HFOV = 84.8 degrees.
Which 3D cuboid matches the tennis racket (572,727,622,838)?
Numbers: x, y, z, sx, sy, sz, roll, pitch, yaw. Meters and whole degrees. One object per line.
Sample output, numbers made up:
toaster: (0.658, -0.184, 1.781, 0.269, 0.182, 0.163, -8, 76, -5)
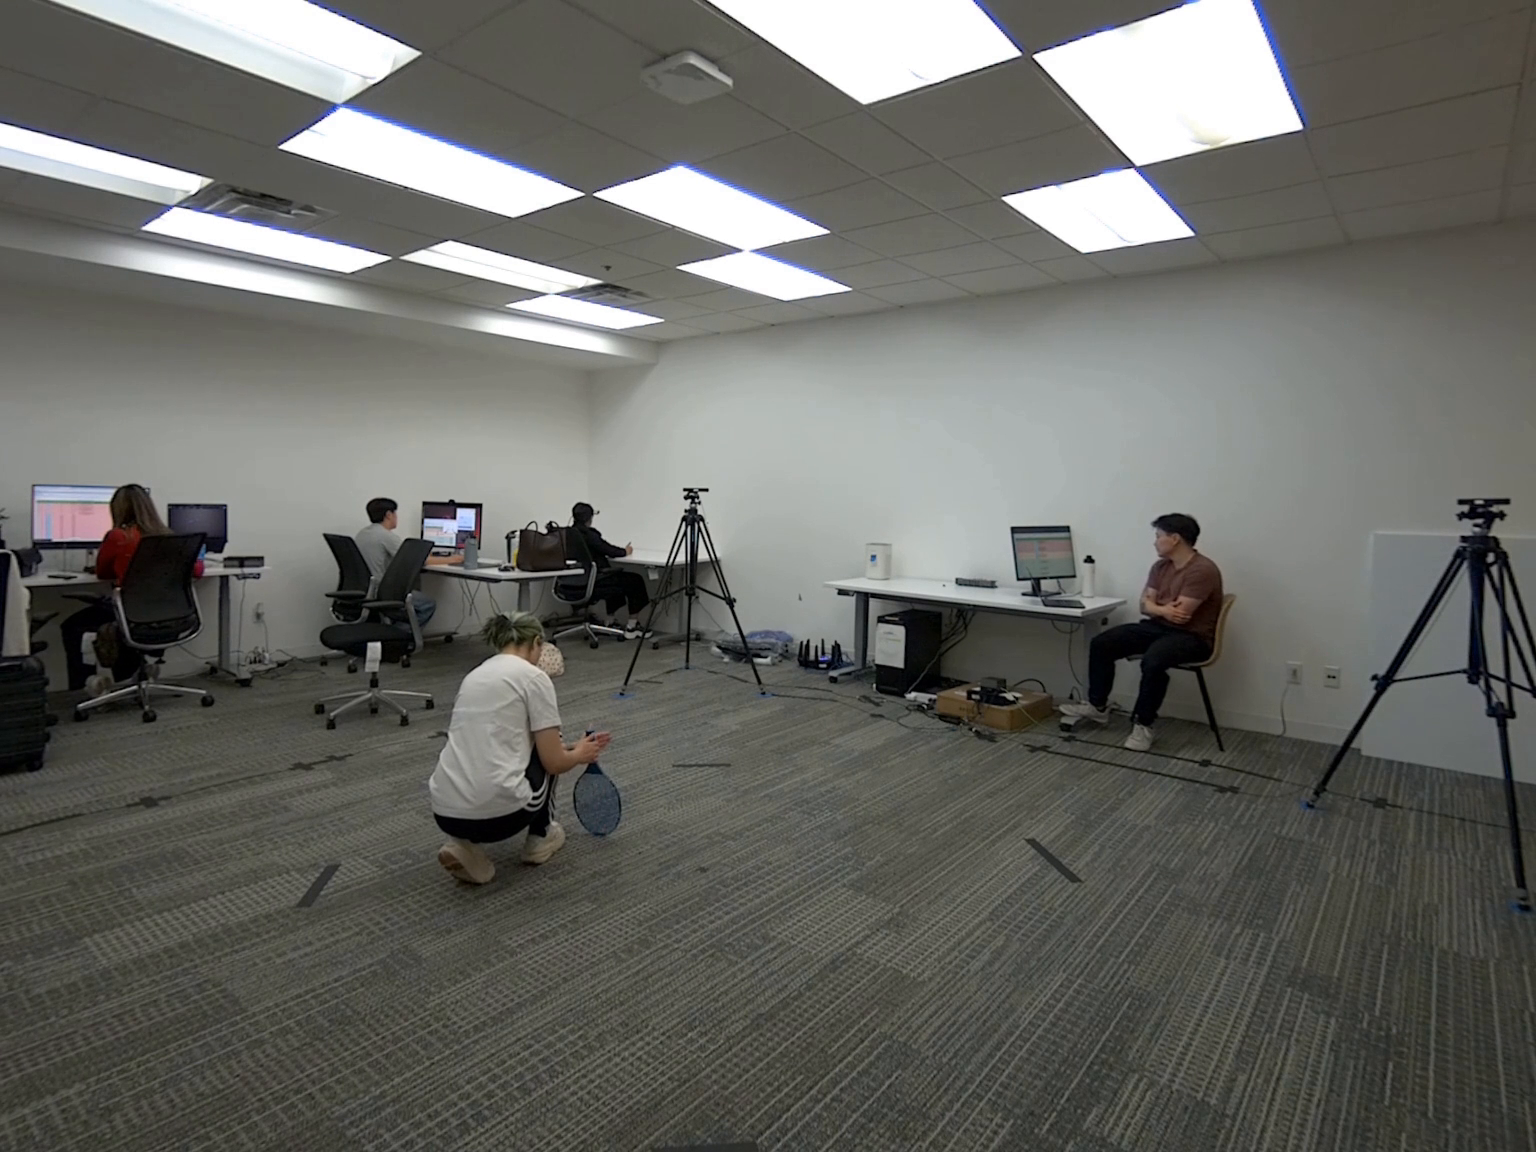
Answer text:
tennis racket: (-0.699, 0.823, 3.378, 0.218, 0.431, 0.031, 0, 4, 18)
